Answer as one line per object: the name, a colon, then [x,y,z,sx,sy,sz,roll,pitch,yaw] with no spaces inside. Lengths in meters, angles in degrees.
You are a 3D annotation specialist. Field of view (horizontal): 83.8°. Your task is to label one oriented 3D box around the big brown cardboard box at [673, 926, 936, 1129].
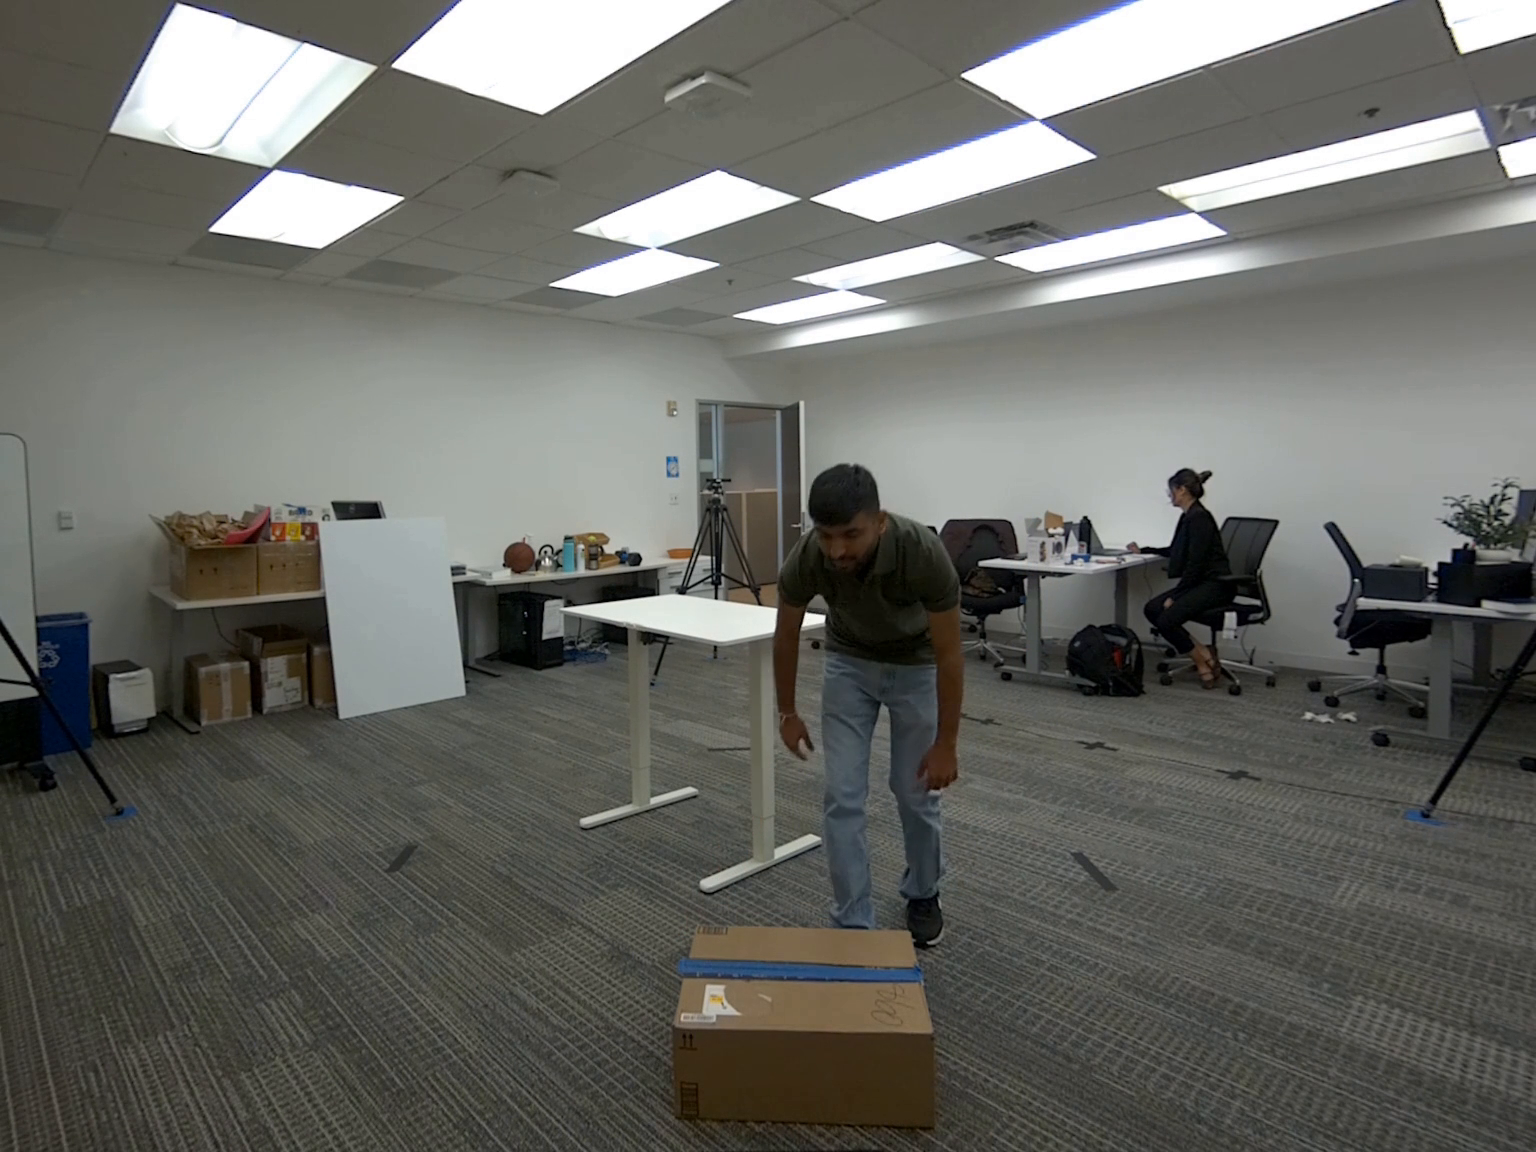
big brown cardboard box: [0.080,1.046,2.059,0.591,0.232,0.418,0,6,3]
